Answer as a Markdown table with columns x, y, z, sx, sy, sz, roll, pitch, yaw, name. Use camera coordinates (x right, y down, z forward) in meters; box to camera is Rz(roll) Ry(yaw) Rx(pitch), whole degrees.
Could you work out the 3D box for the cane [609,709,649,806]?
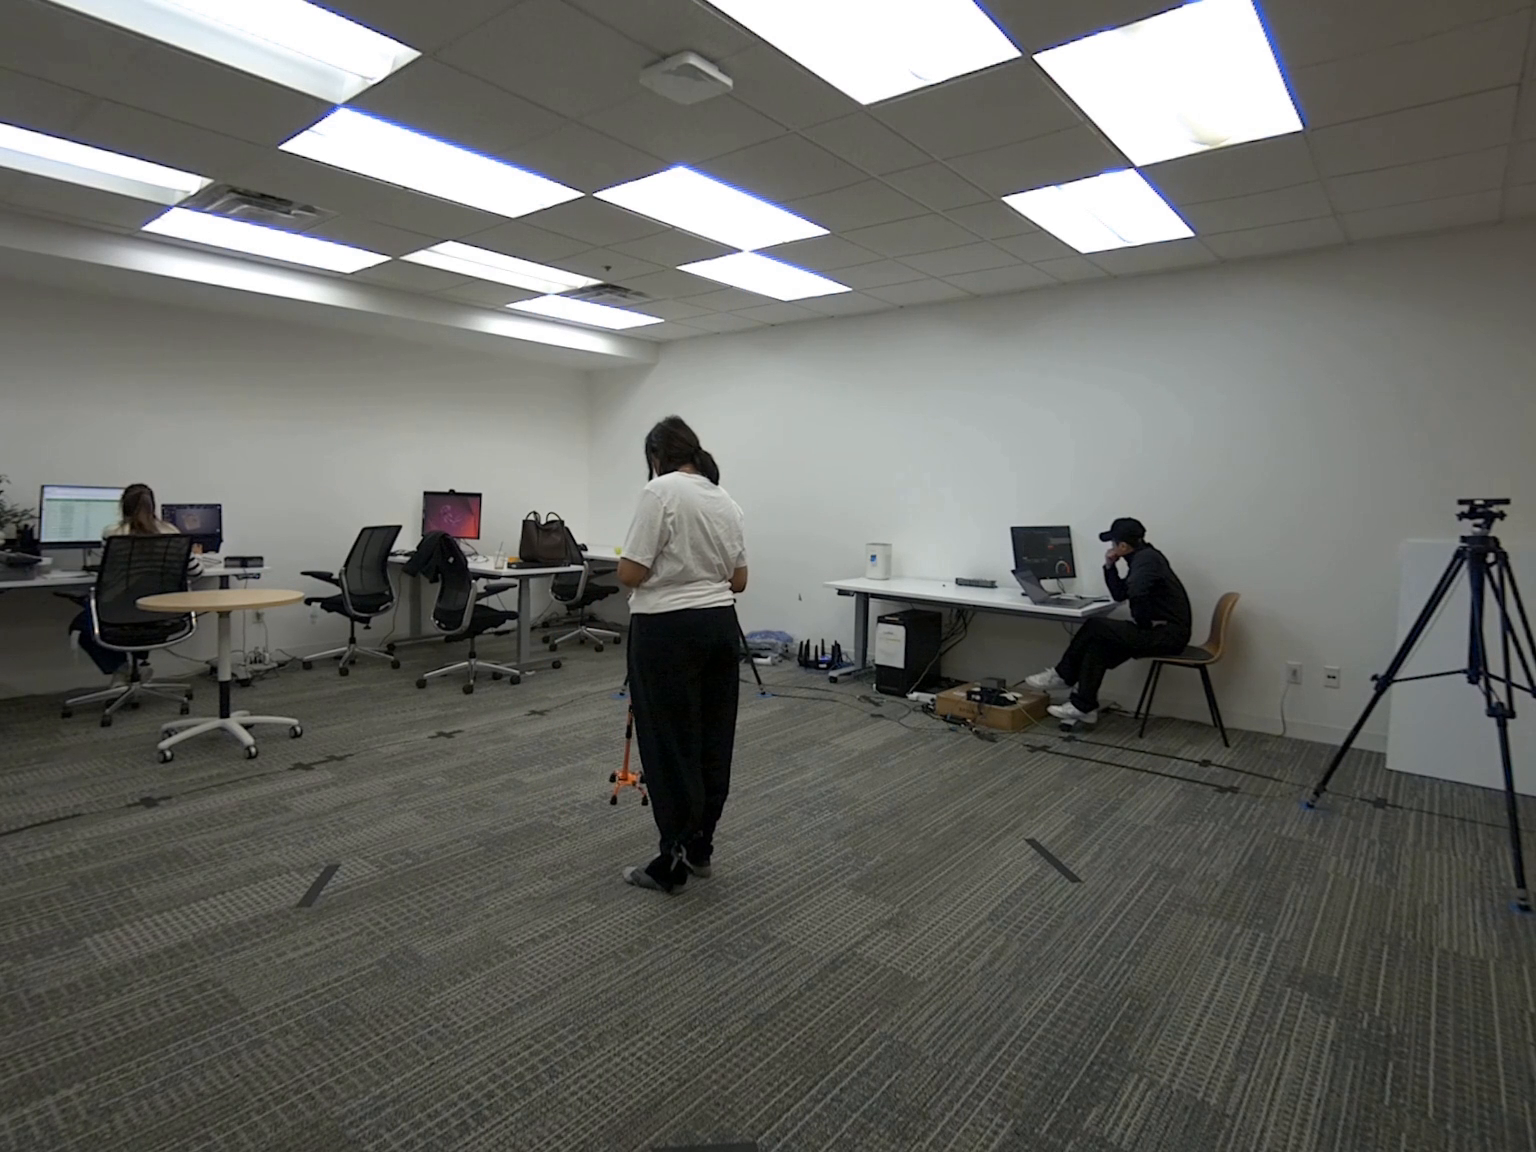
| x | y | z | sx | sy | sz | roll | pitch | yaw | name |
| --- | --- | --- | --- | --- | --- | --- | --- | --- | --- |
| -0.520 | 0.437 | 3.312 | 0.150 | 0.899 | 0.211 | 3 | 12 | -12 | cane |
